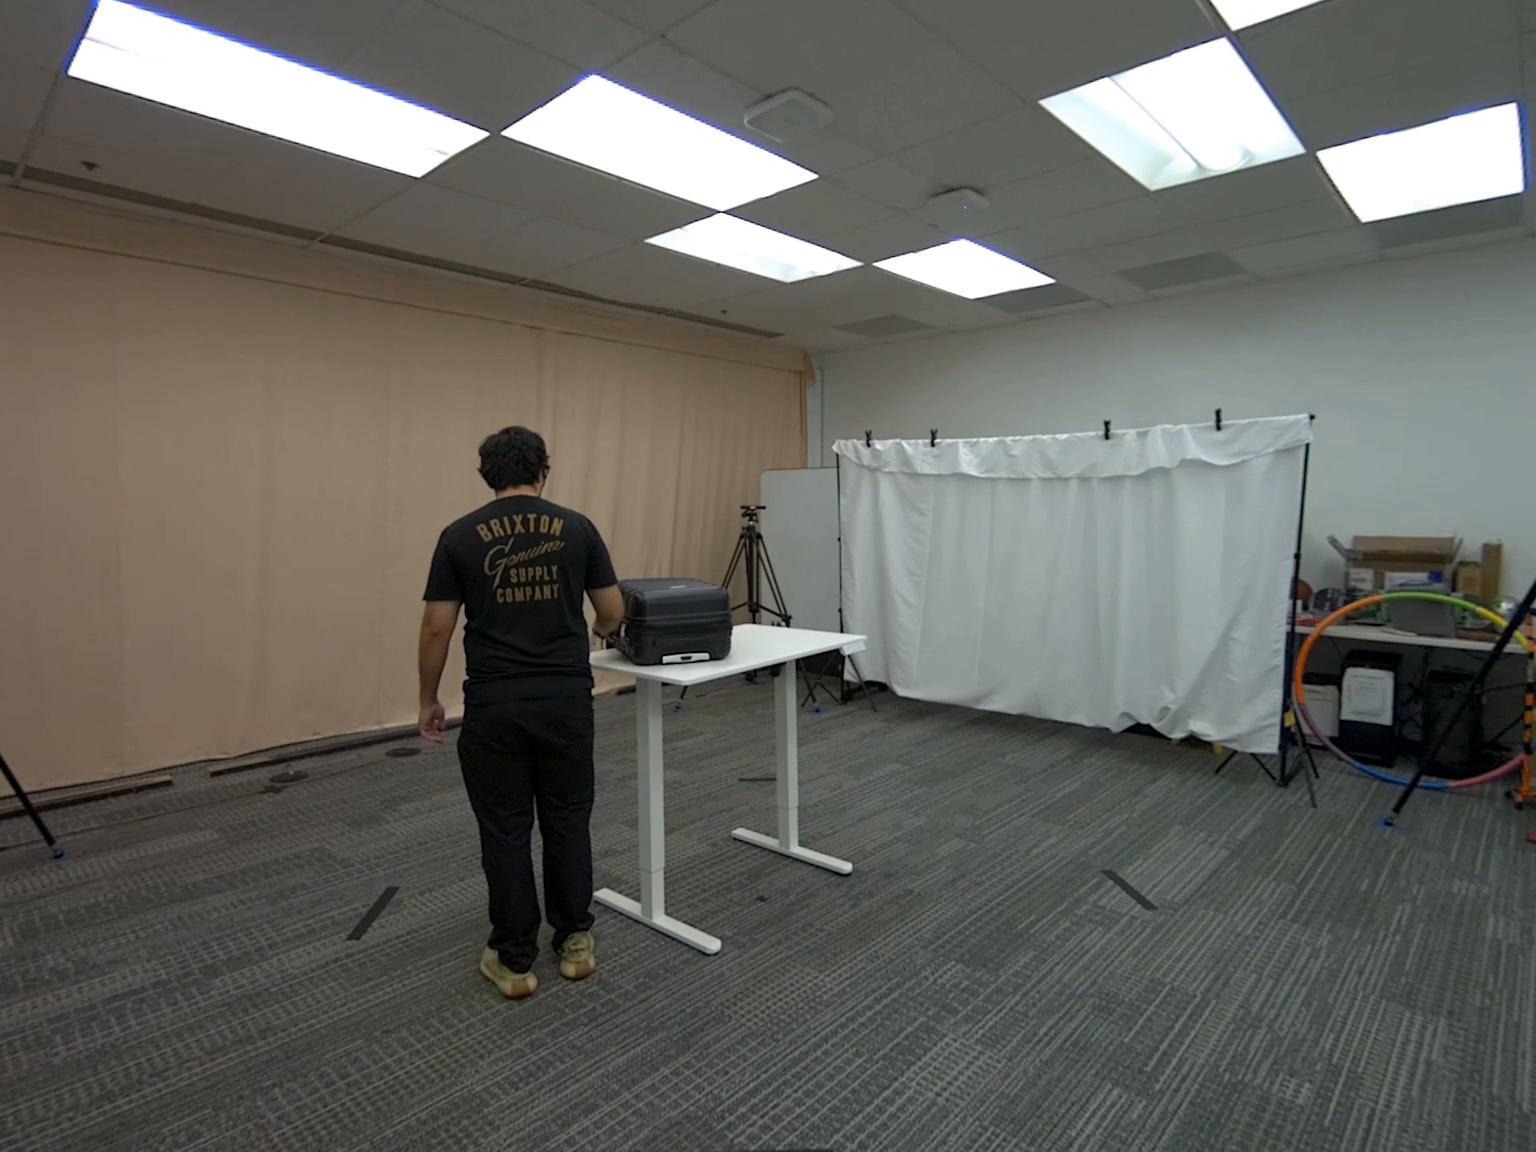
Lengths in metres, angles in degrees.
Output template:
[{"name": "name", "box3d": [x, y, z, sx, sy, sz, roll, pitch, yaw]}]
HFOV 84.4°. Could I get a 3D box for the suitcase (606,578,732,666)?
[{"name": "suitcase", "box3d": [-0.354, 0.152, 2.956, 0.368, 0.248, 0.561, -3, 5, -19]}]
